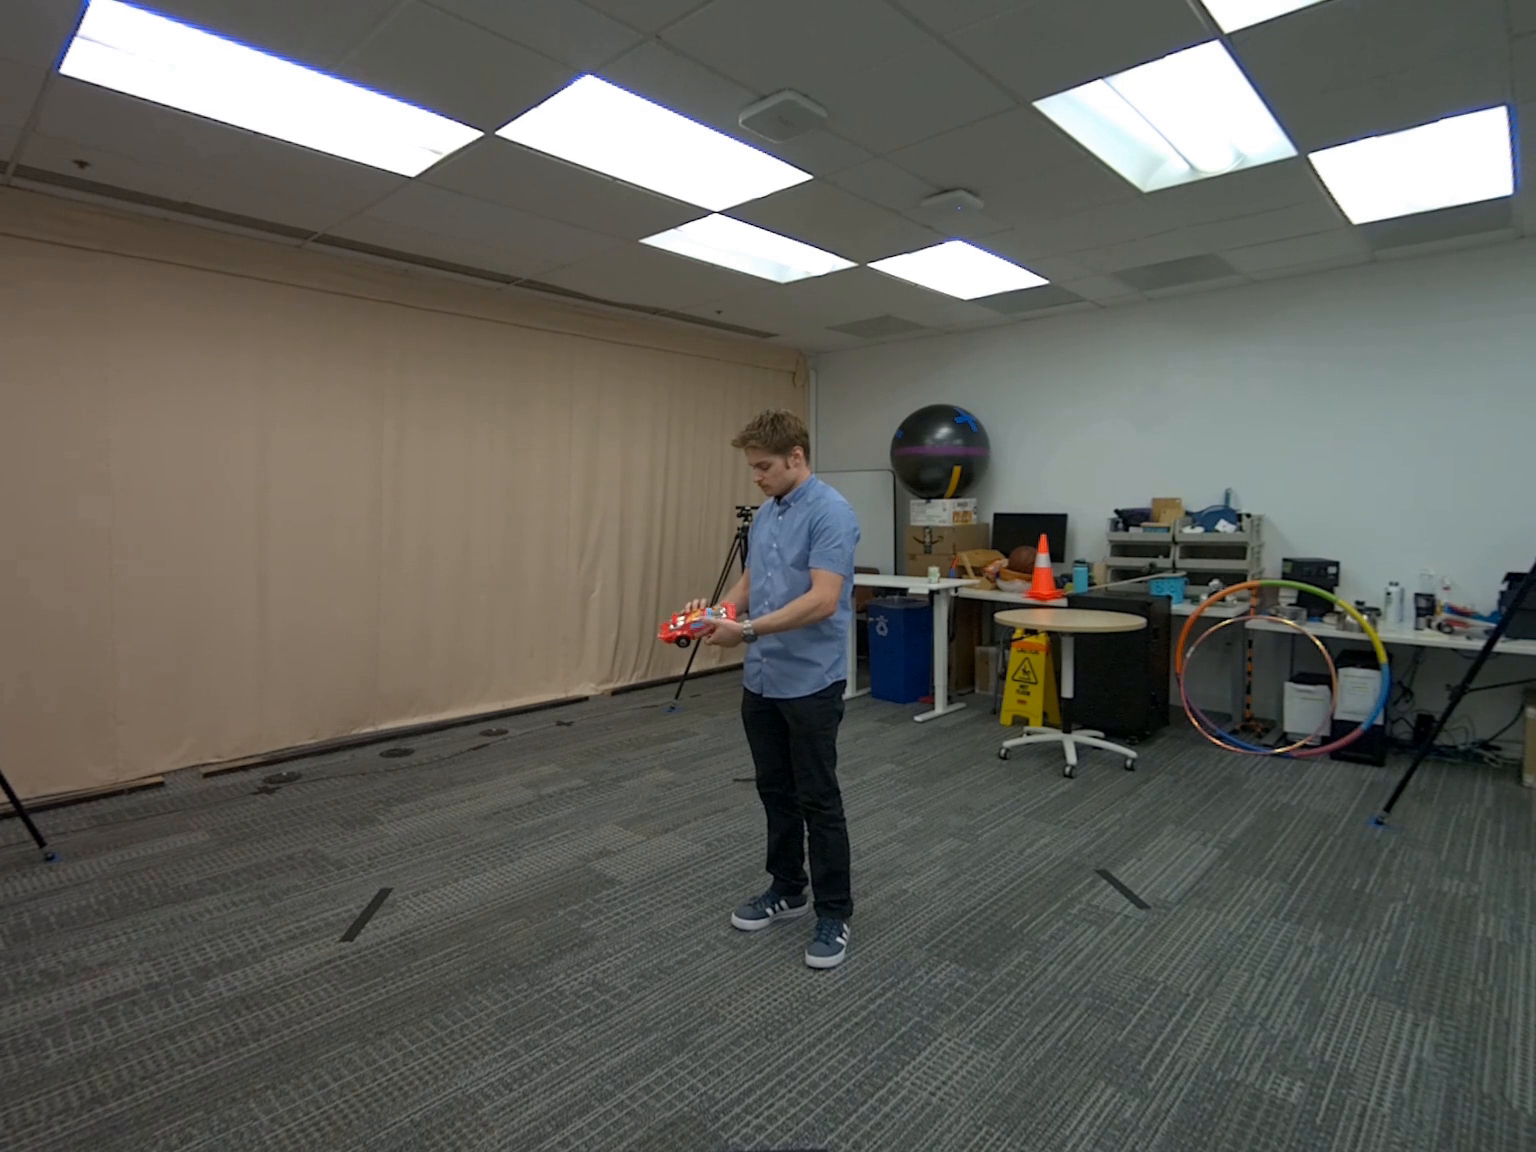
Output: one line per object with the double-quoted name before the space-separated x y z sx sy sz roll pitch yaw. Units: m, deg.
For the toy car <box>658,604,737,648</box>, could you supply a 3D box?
"toy car" -0.221 0.160 2.669 0.256 0.081 0.132 -8 33 6
